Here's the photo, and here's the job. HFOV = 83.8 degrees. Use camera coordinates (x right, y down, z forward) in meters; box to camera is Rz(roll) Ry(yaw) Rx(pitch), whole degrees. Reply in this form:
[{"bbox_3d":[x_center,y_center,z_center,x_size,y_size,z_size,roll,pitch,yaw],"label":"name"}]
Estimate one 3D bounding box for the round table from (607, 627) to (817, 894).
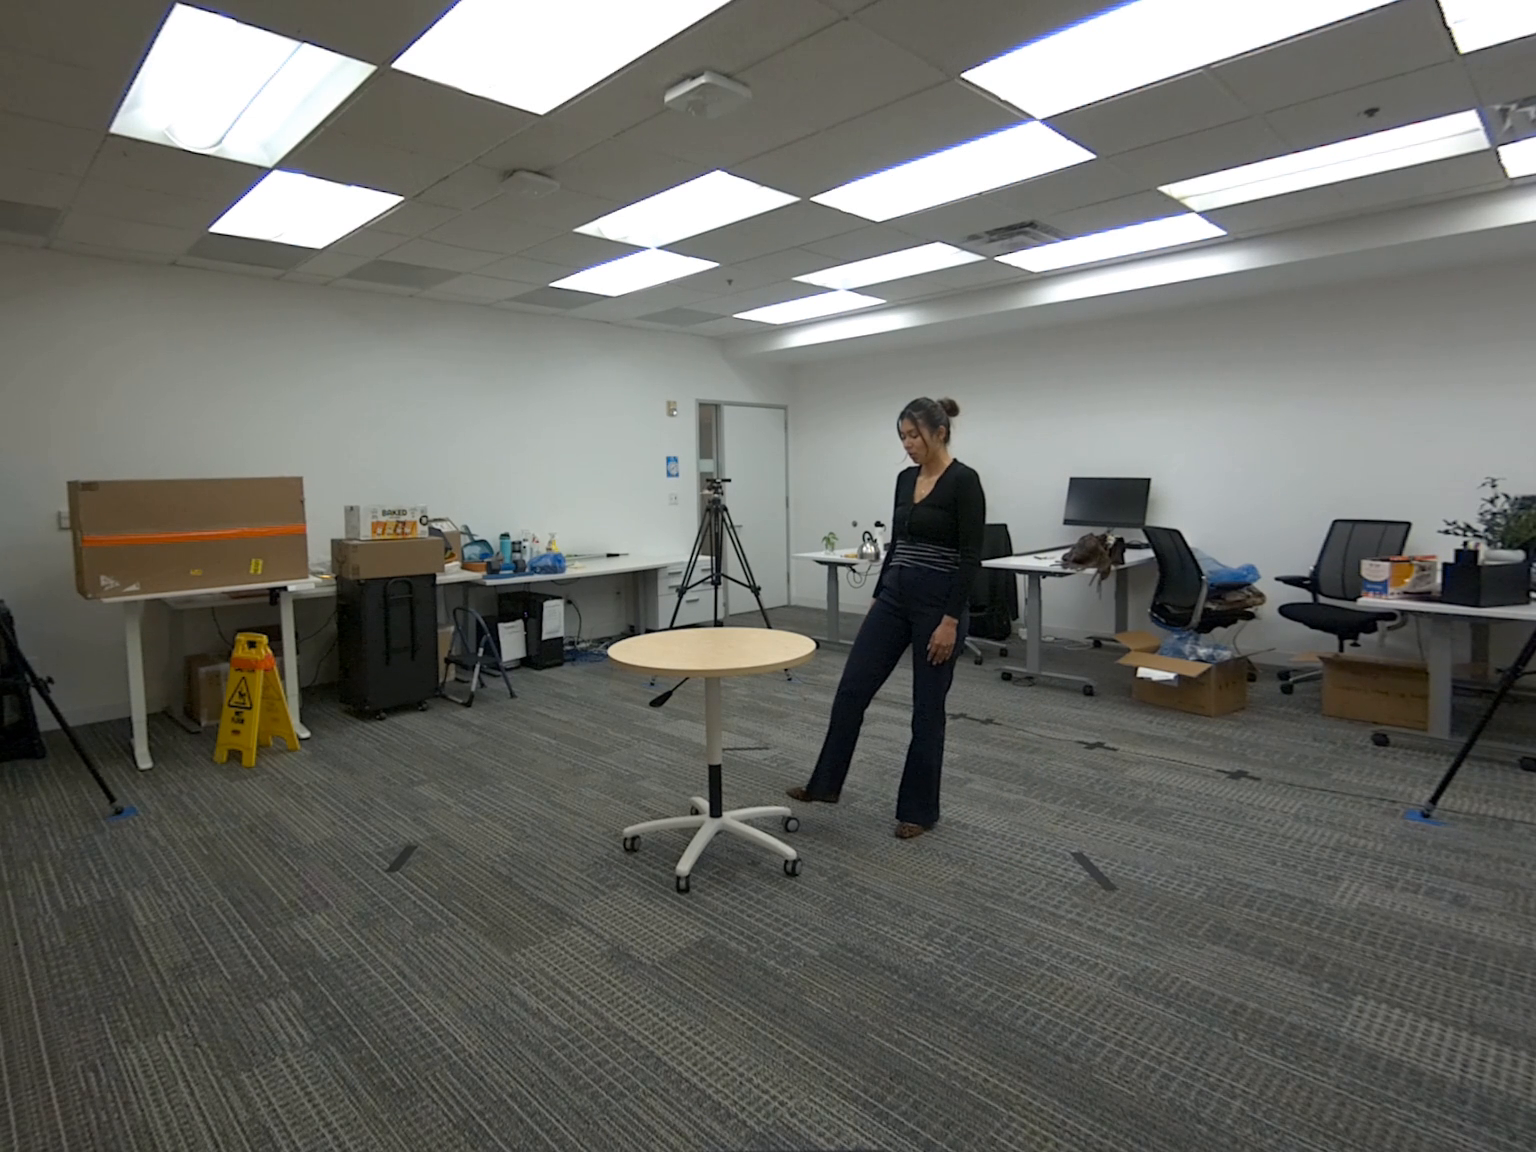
[{"bbox_3d":[-0.191,0.651,3.177,0.763,0.791,0.768,-1,5,-2],"label":"round table"}]
